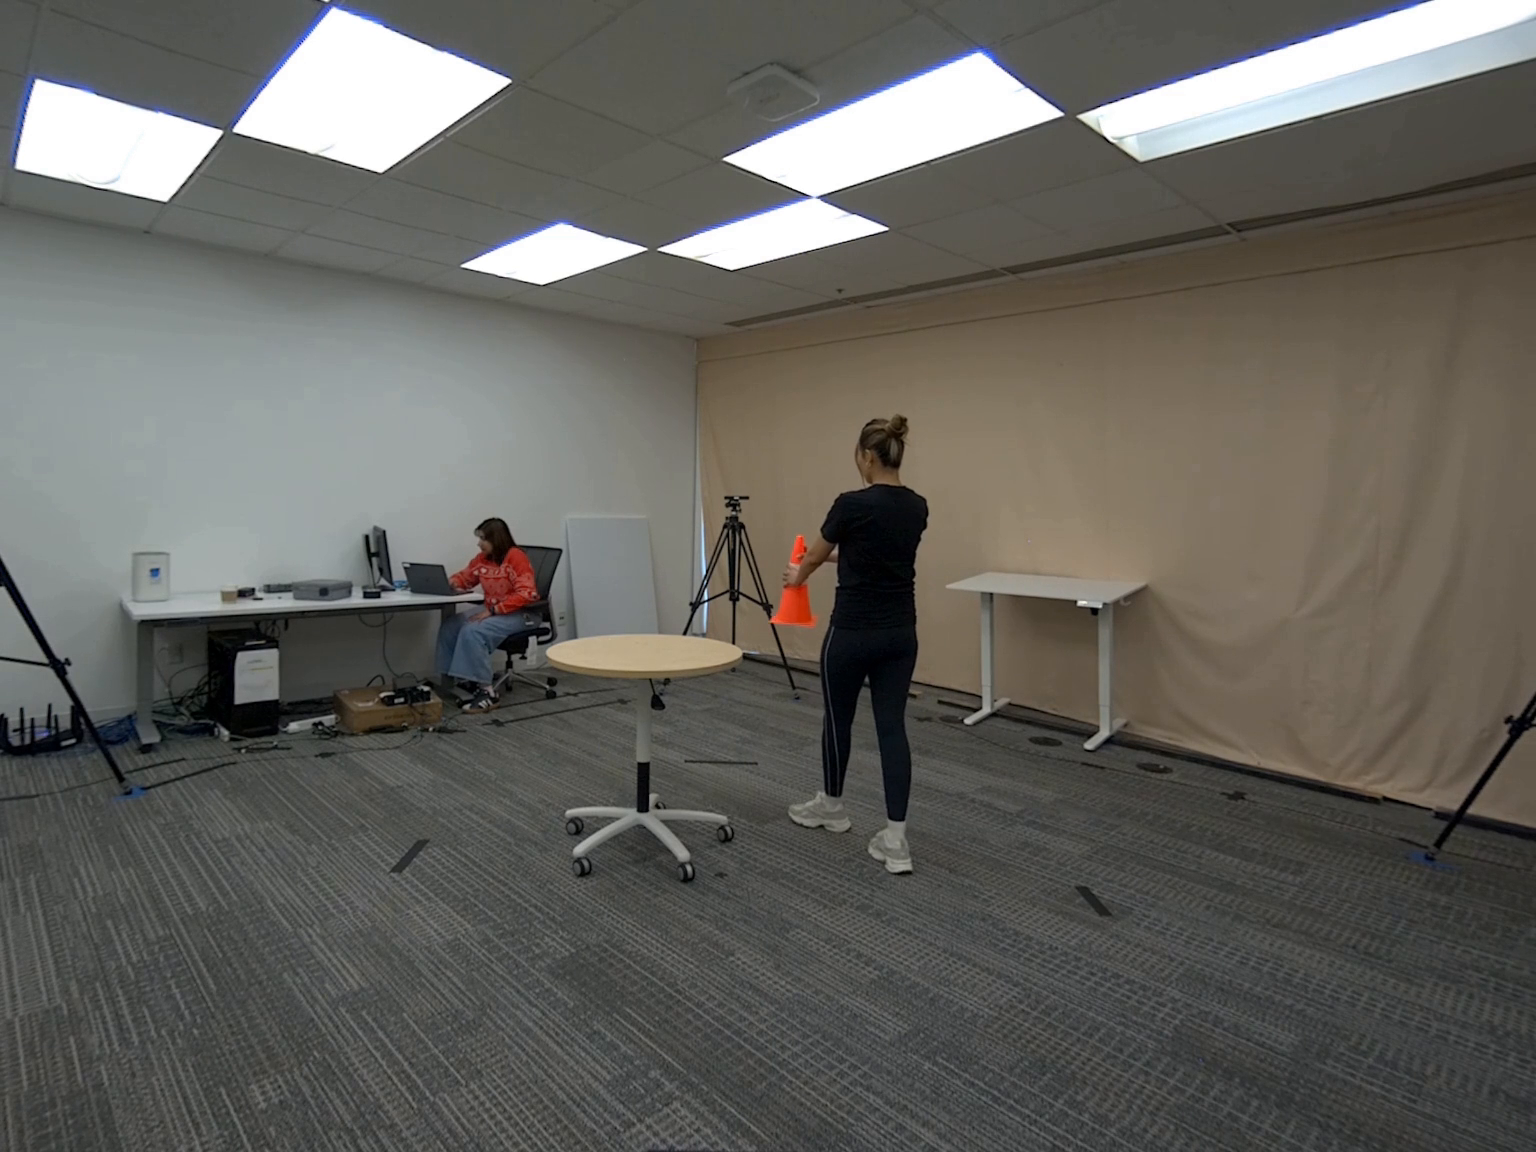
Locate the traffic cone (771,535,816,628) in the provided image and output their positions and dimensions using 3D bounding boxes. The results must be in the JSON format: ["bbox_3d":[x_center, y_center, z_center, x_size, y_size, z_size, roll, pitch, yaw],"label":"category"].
[{"bbox_3d":[0.119,0.007,3.762,0.205,0.381,0.205,5,10,8],"label":"traffic cone"}]
